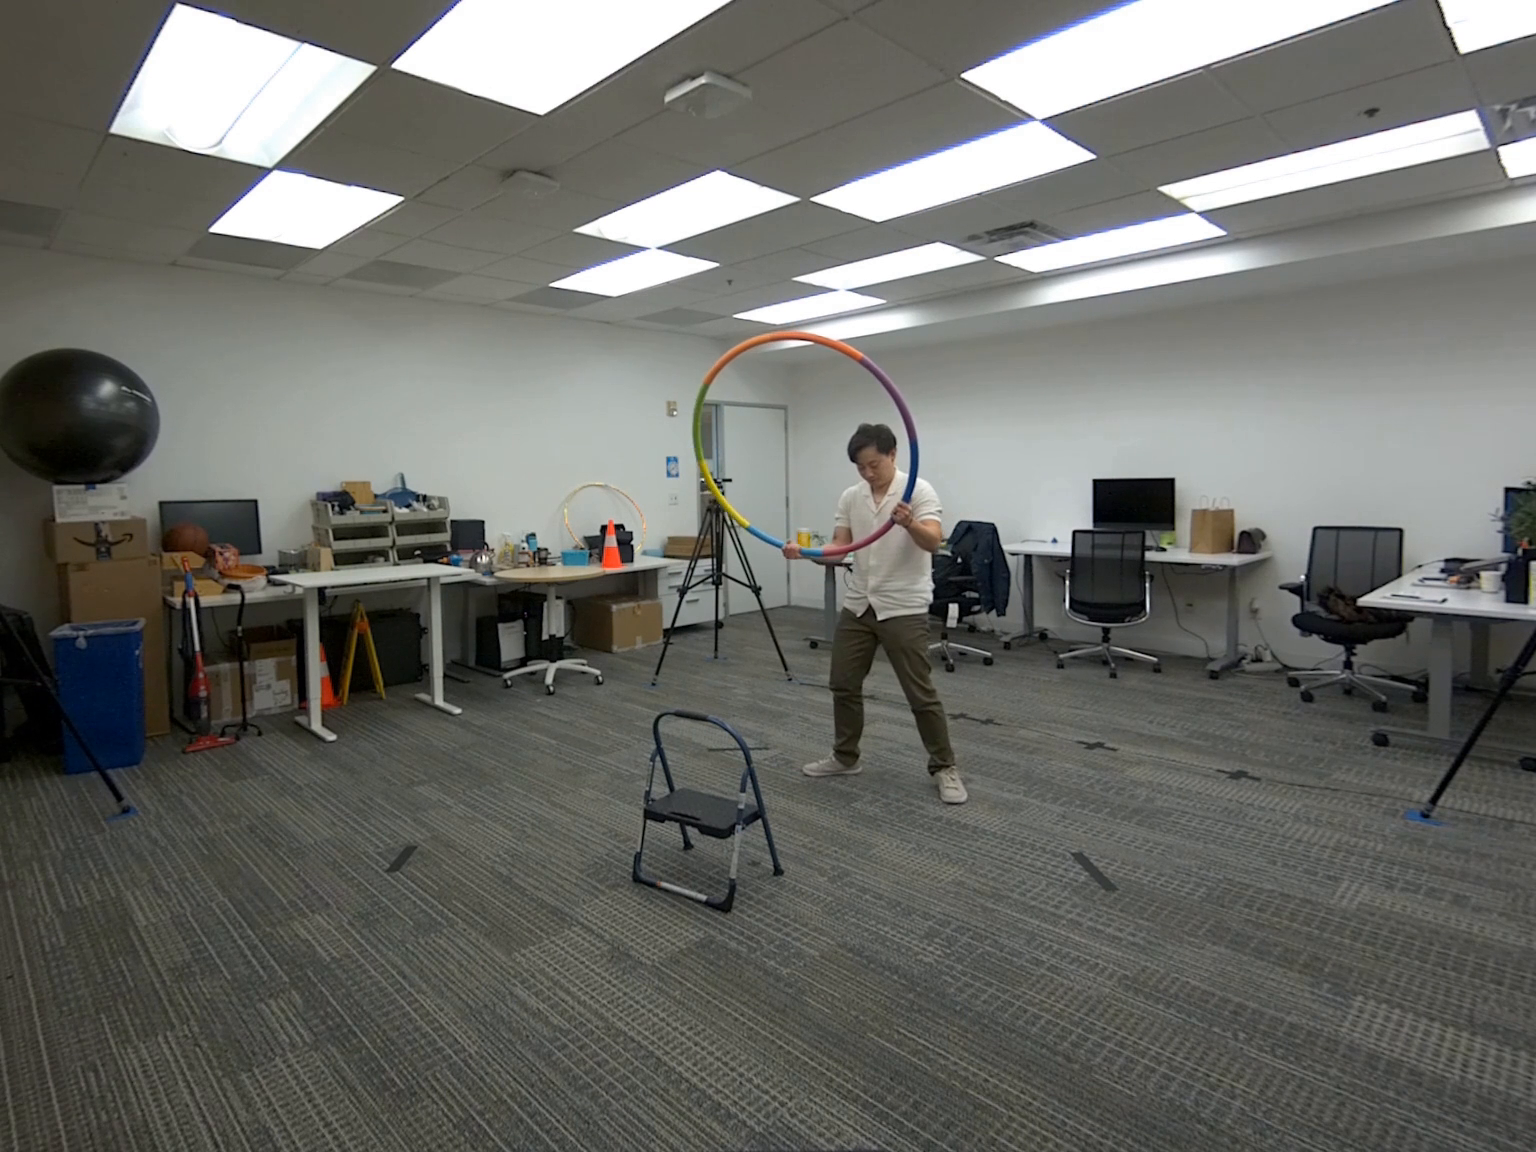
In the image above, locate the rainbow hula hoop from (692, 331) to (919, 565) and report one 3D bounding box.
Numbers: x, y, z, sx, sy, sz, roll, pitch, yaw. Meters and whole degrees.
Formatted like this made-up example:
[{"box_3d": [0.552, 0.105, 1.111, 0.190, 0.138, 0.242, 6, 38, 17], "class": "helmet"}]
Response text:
[{"box_3d": [0.140, -0.522, 3.535, 1.003, 0.954, 0.035, 2, 28, 28], "class": "rainbow hula hoop"}]
